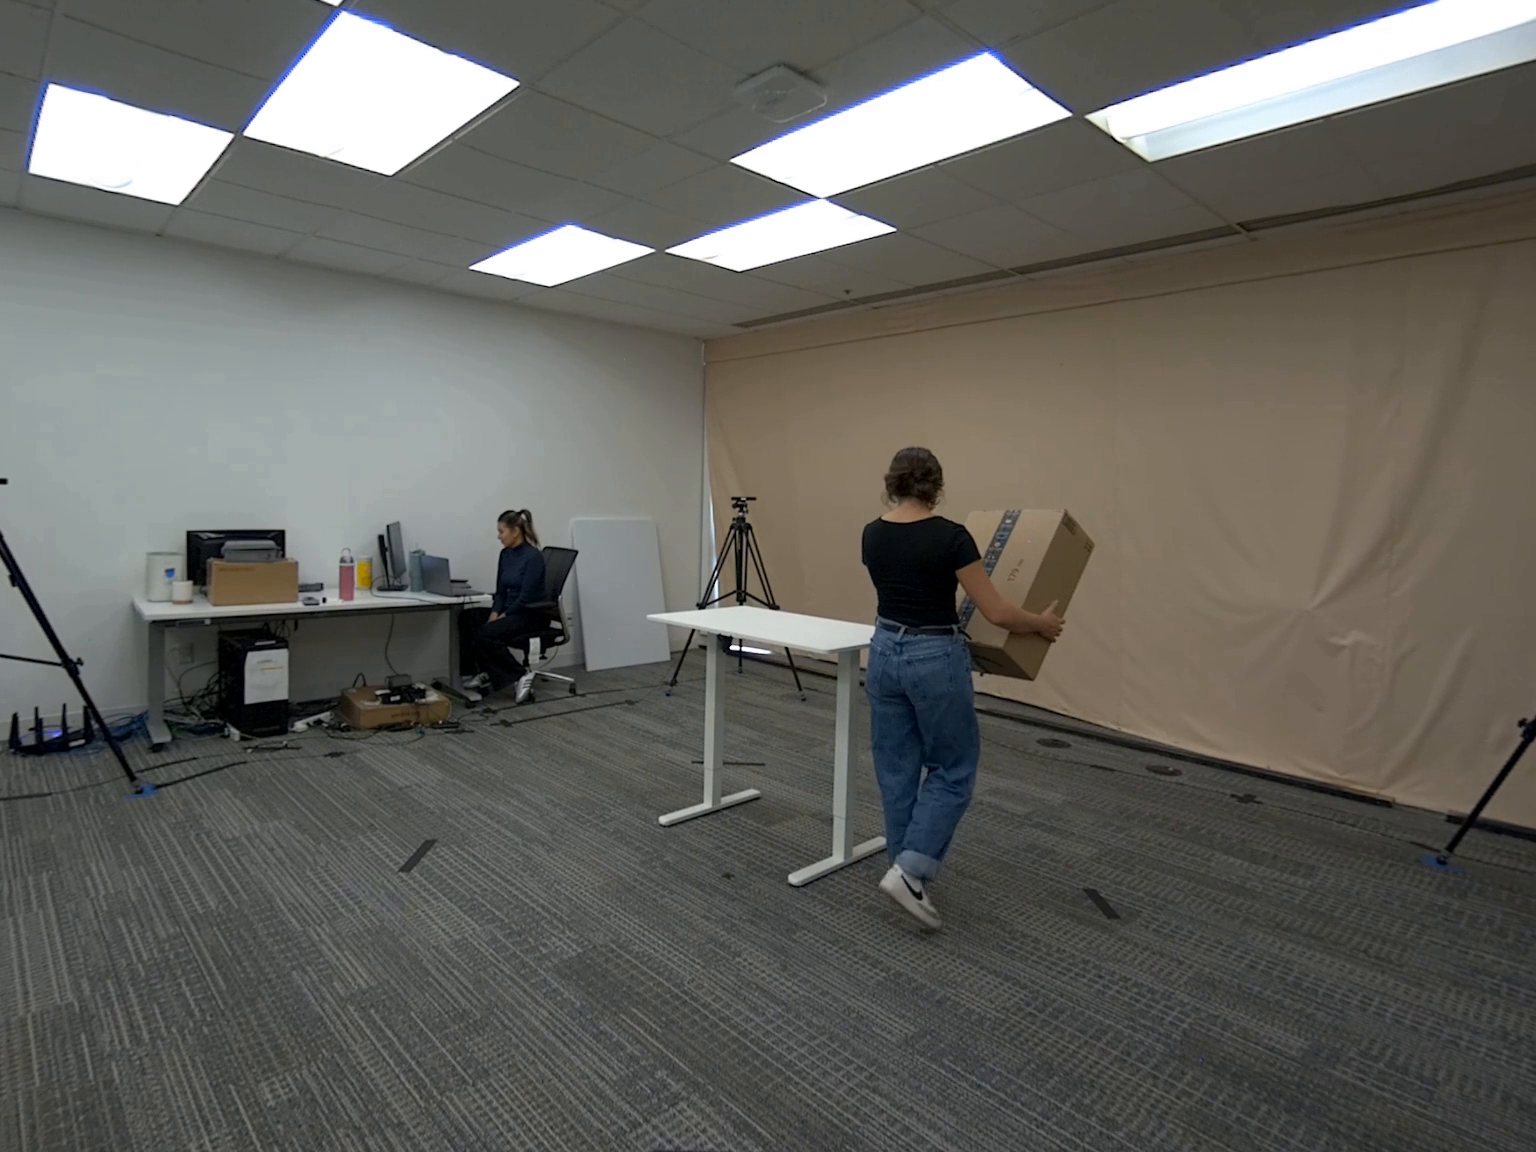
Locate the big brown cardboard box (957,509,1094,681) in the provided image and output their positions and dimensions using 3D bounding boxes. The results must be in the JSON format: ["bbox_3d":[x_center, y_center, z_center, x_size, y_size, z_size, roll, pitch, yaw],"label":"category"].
[{"bbox_3d":[0.831,0.052,3.012,0.227,0.591,0.427,42,-21,-30],"label":"big brown cardboard box"}]
